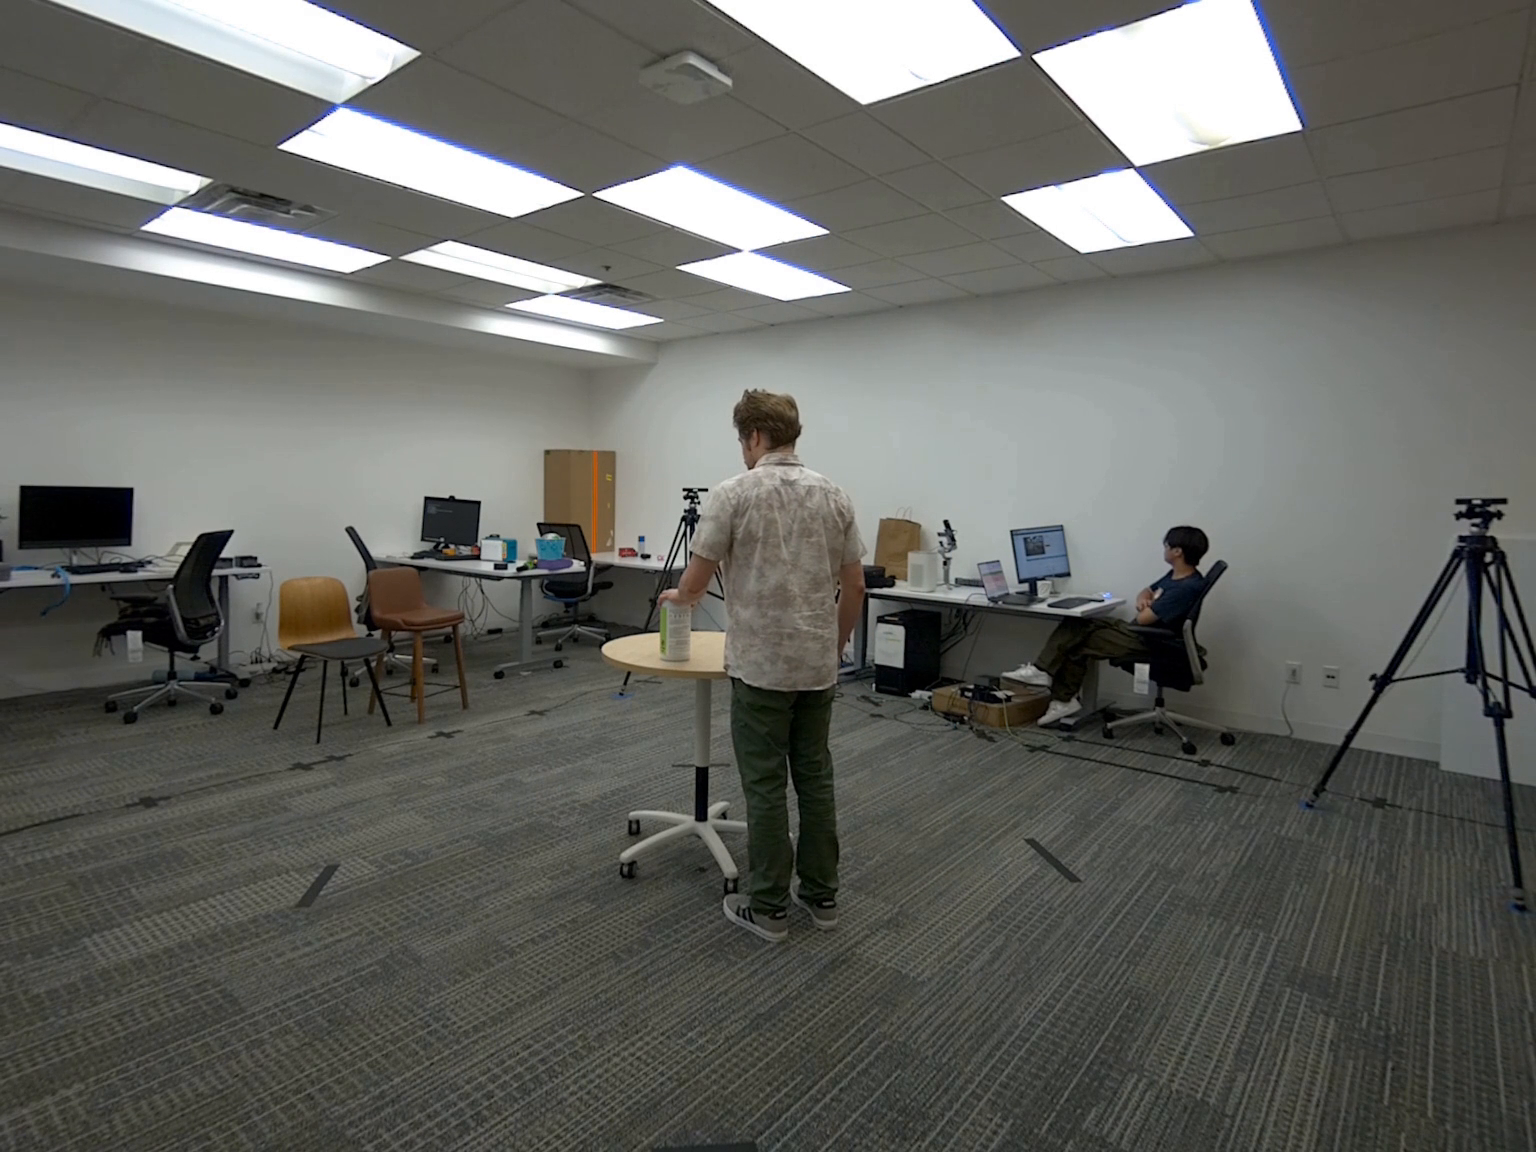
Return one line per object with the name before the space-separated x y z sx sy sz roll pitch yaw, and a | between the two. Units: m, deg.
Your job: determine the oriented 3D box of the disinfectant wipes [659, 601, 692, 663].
disinfectant wipes | -0.334 0.183 2.987 0.118 0.217 0.118 0 4 -2
